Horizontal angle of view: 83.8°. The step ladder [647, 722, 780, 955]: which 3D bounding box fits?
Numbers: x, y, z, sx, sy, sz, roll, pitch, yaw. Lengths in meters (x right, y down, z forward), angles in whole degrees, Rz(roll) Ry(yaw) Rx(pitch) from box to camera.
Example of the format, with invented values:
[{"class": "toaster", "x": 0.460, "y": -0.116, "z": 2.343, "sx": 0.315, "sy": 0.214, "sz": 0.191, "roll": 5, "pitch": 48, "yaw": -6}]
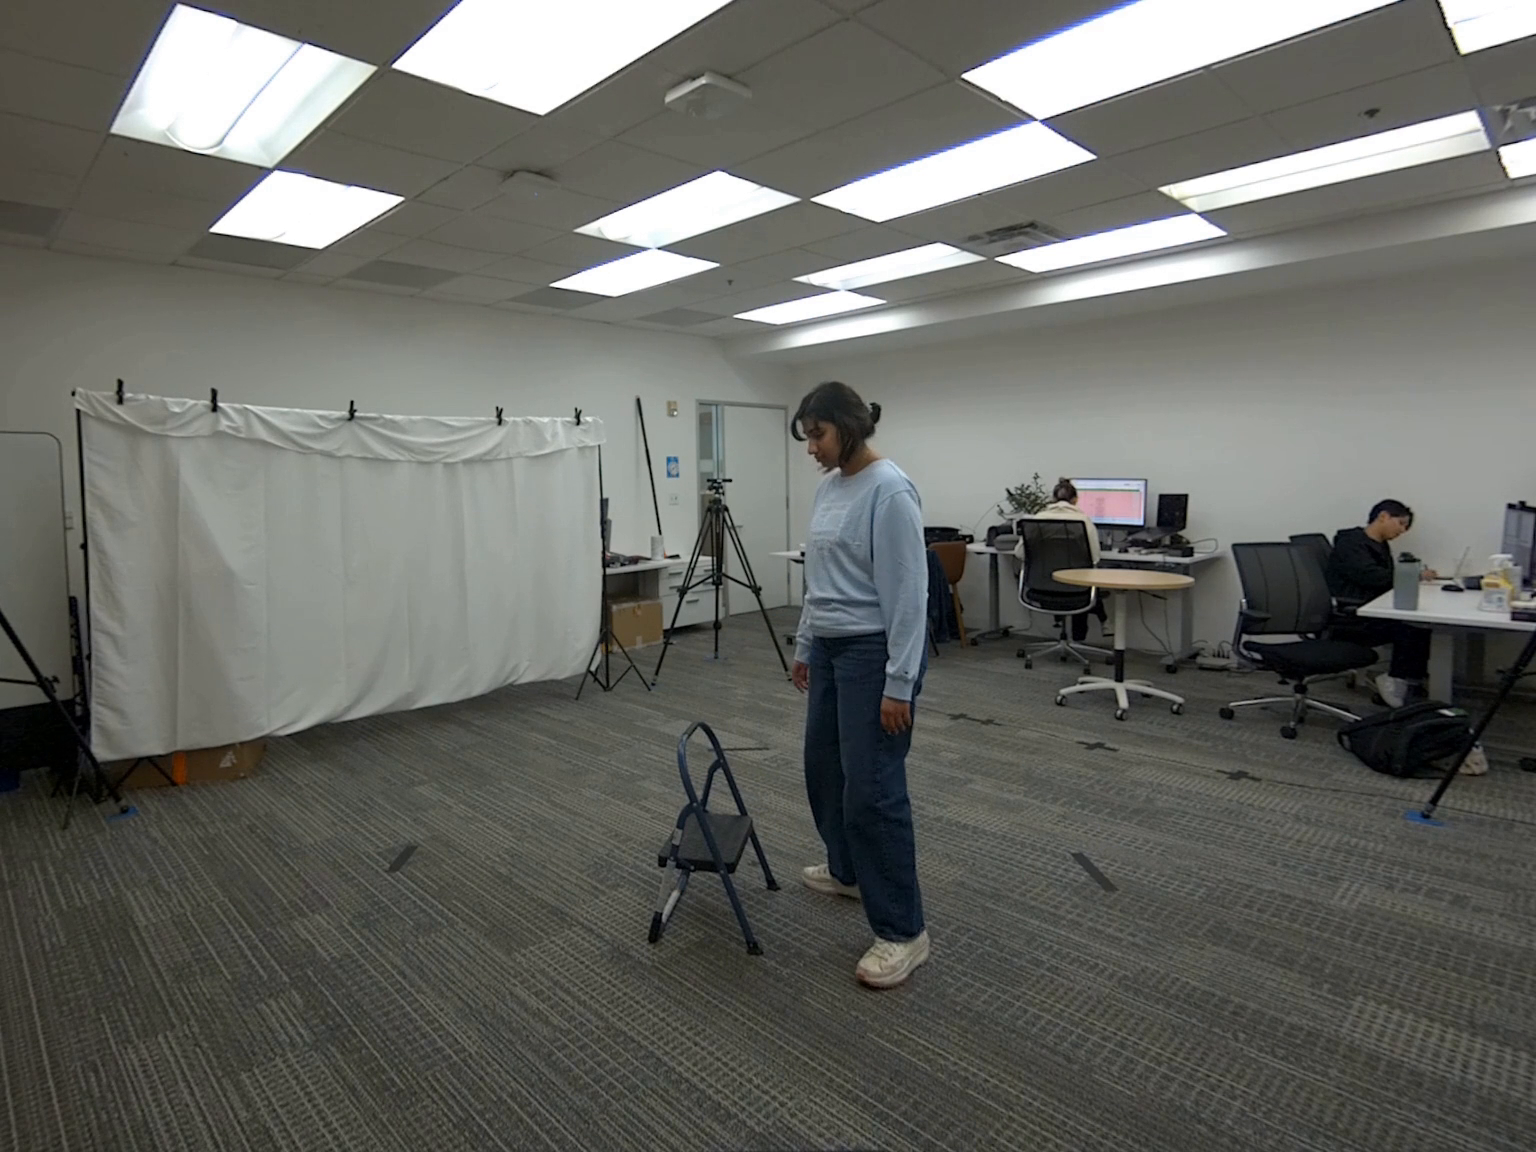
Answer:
[{"class": "step ladder", "x": -0.166, "y": 0.790, "z": 2.730, "sx": 0.353, "sy": 0.604, "sz": 0.428, "roll": 0, "pitch": 5, "yaw": 10}]
